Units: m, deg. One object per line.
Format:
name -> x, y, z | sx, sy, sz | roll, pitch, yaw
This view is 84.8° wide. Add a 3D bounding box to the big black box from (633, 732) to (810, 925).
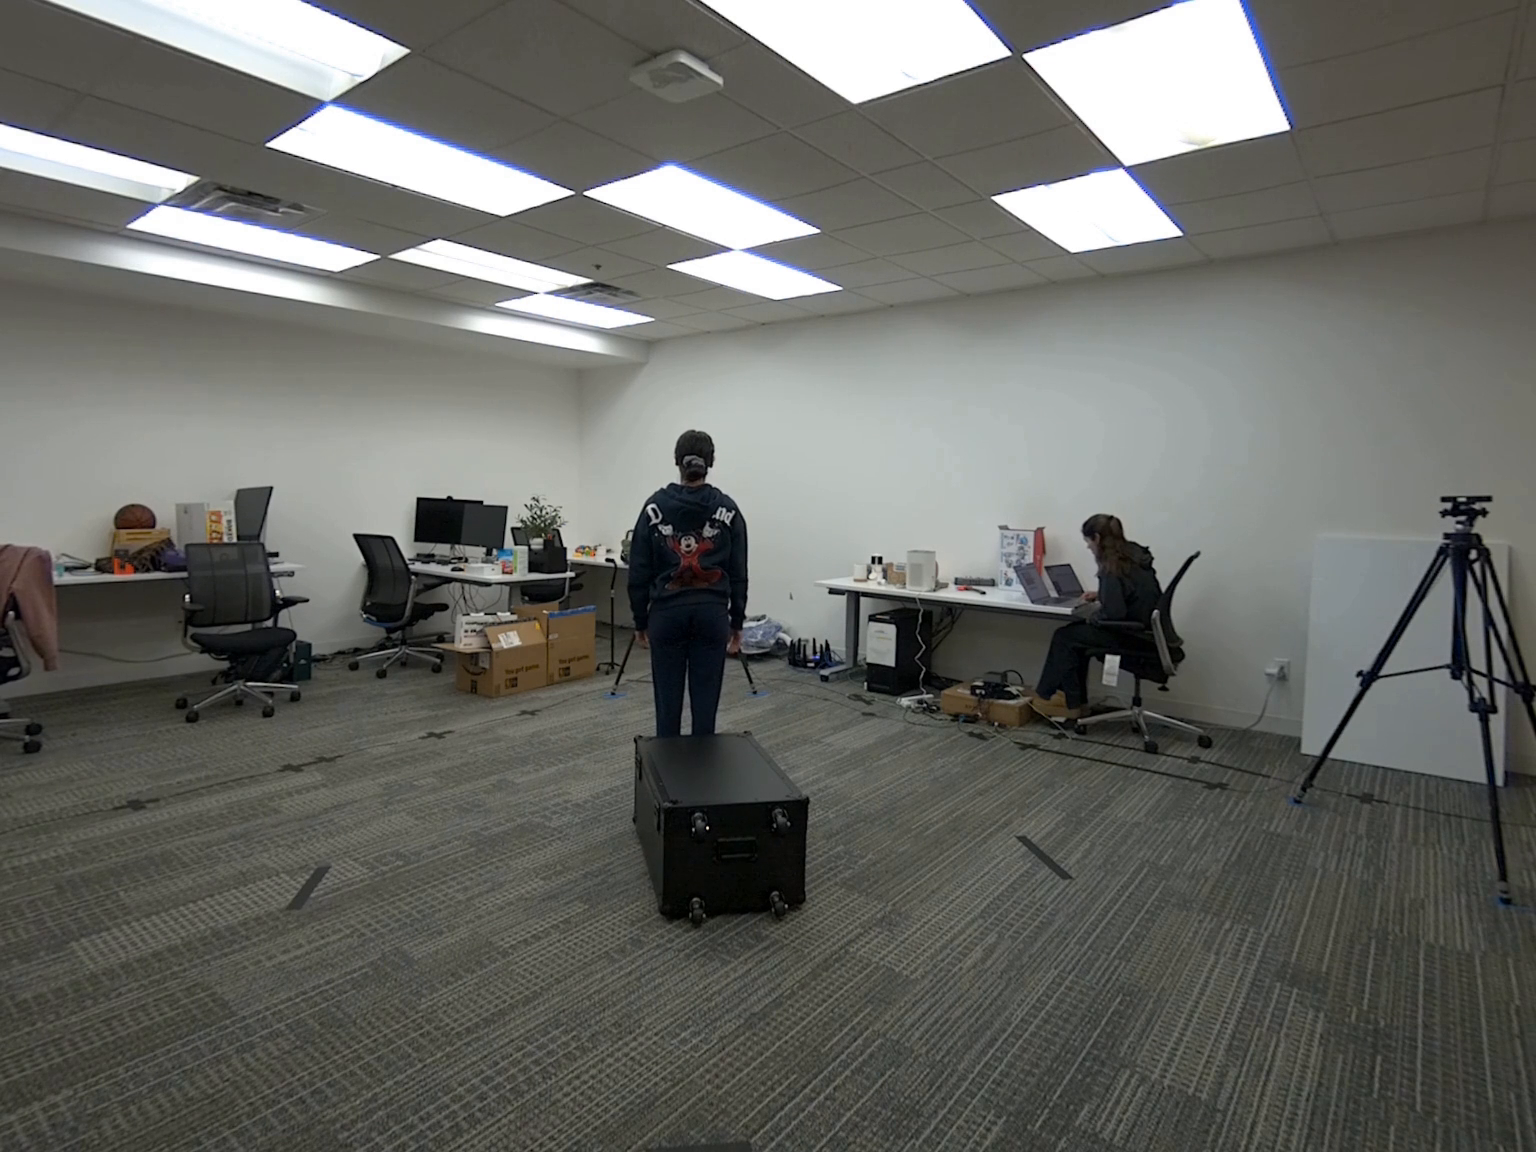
big black box -> -0.209, 0.868, 3.097 | 0.513, 0.395, 0.877 | 0, 4, -15
